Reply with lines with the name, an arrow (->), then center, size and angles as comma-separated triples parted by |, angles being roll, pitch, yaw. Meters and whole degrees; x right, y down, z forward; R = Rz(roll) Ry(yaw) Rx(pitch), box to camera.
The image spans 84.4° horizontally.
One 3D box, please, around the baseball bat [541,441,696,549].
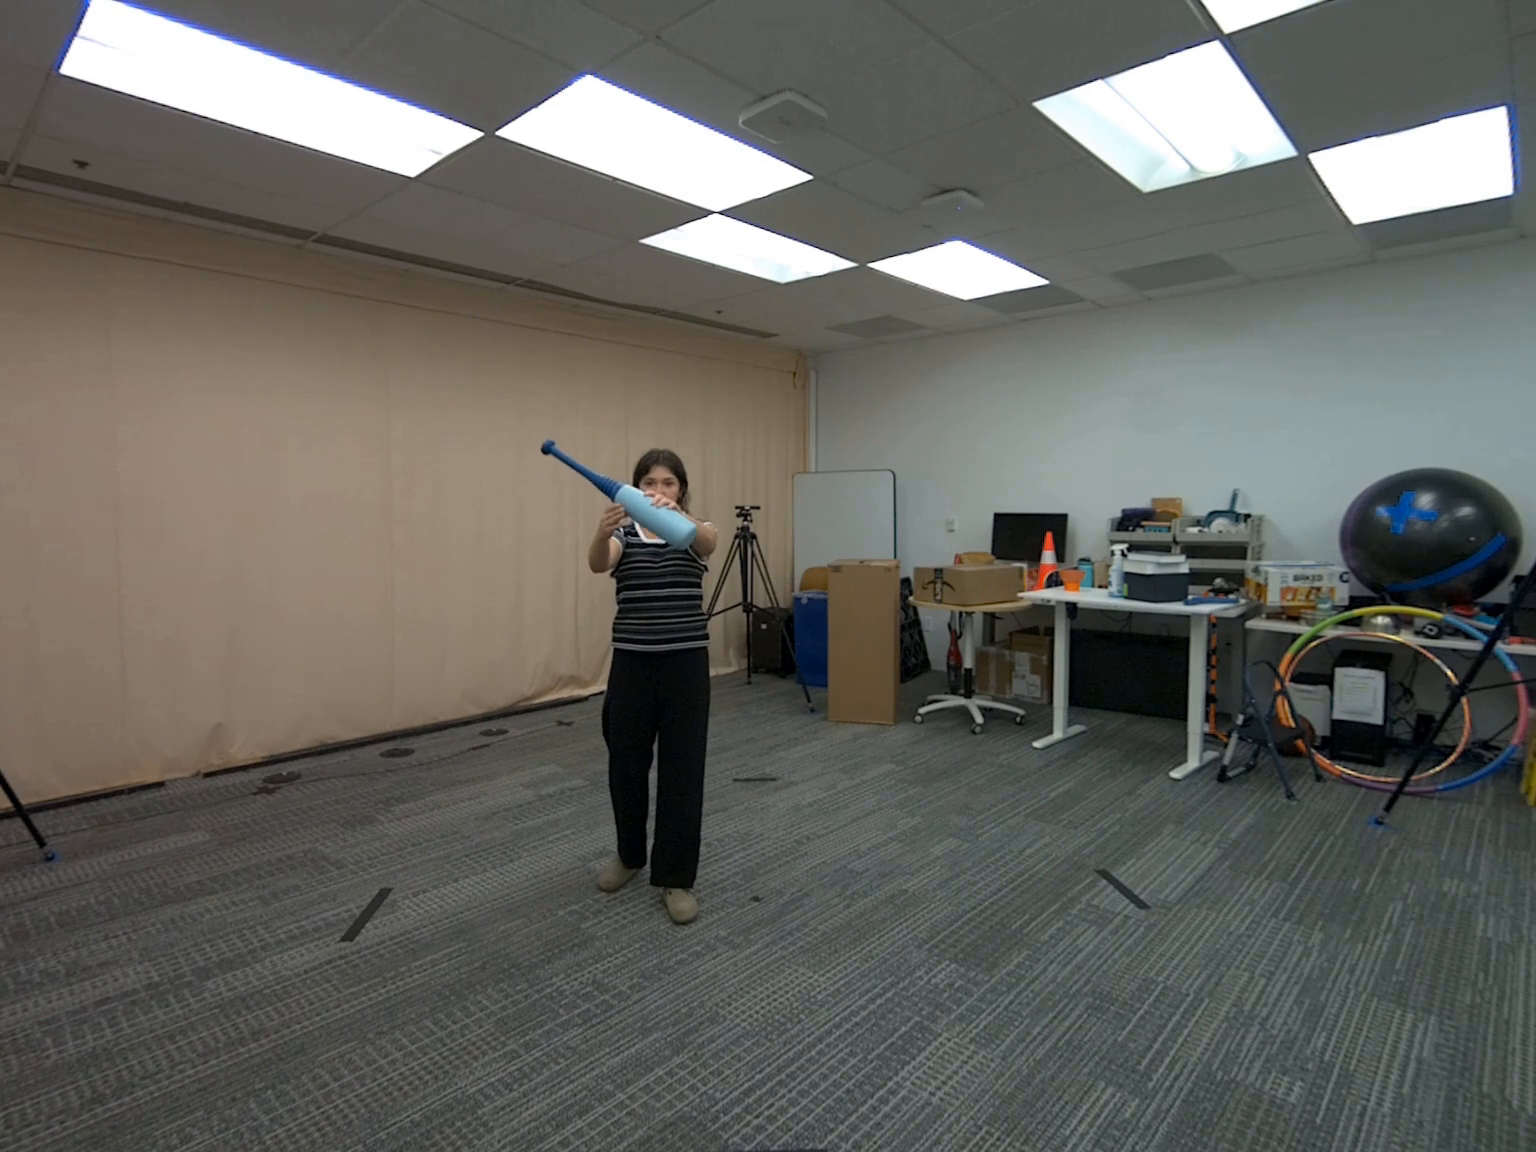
baseball bat -> -0.448, -0.241, 2.449 | 0.553, 0.089, 0.087 | 34, 12, 14
